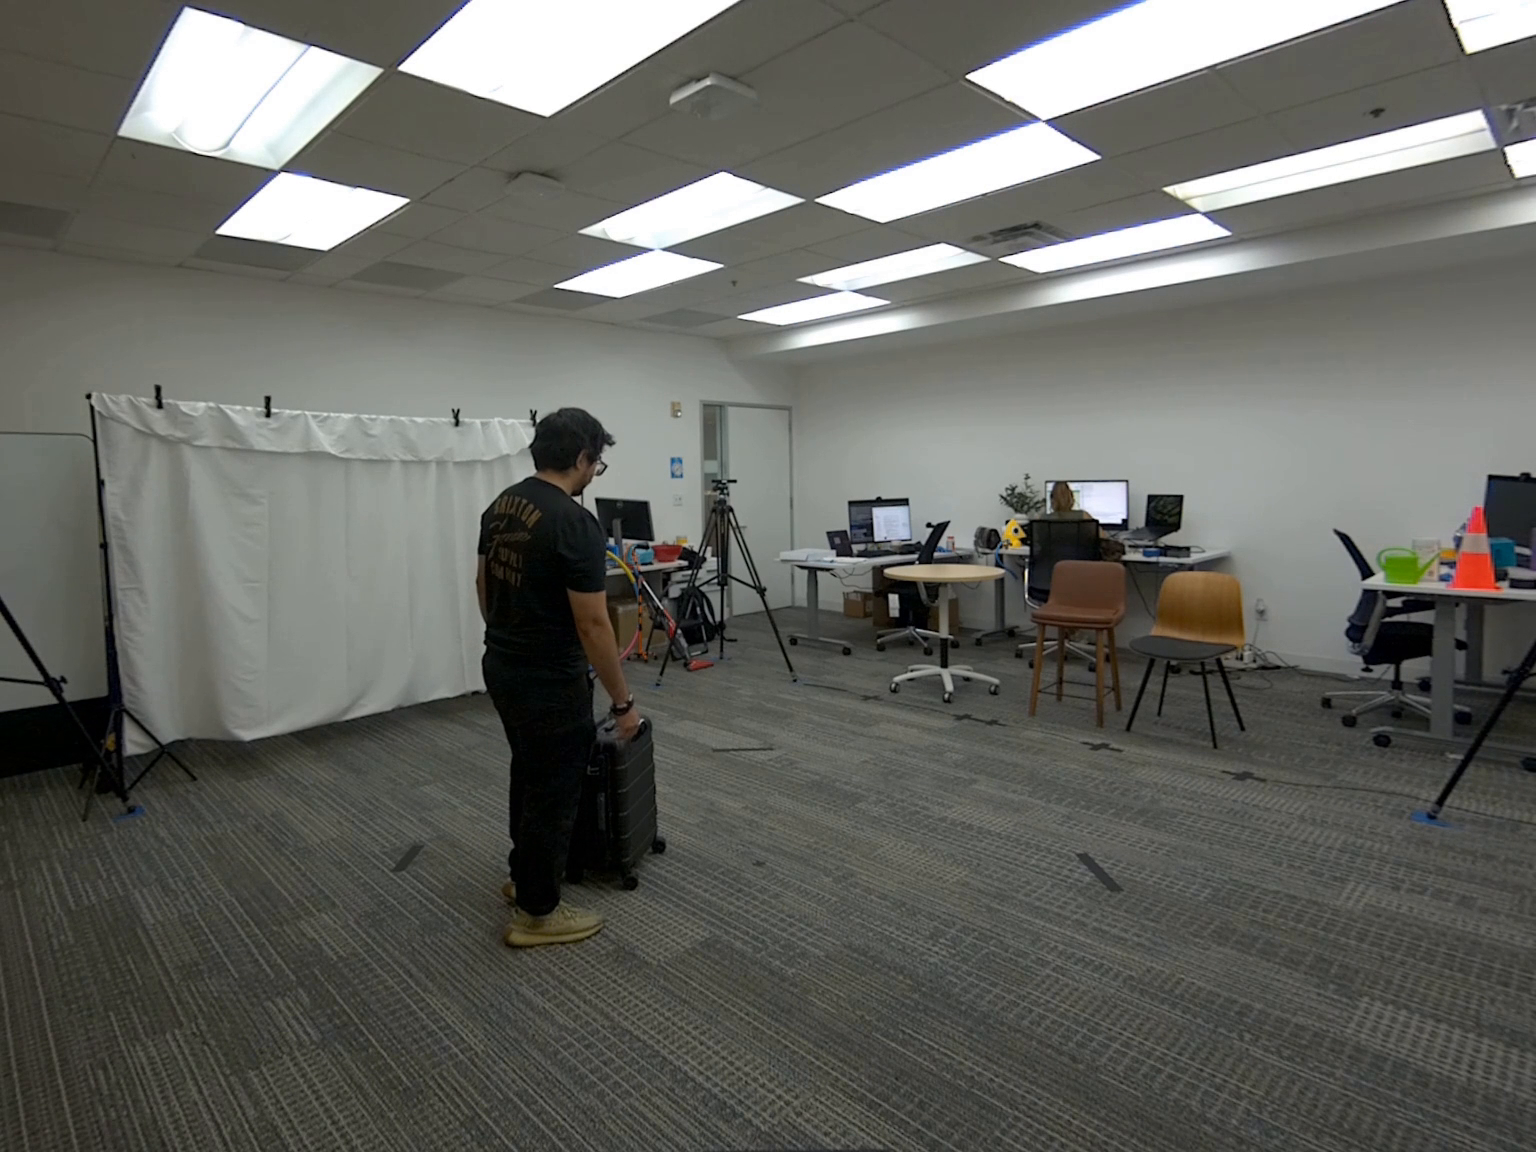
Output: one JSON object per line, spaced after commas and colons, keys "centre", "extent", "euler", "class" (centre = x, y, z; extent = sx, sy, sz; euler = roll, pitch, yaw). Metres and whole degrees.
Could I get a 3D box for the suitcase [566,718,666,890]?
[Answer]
{"centre": [-0.567, 0.784, 3.090], "extent": [0.252, 0.547, 0.372], "euler": [-2, 5, 13], "class": "suitcase"}
